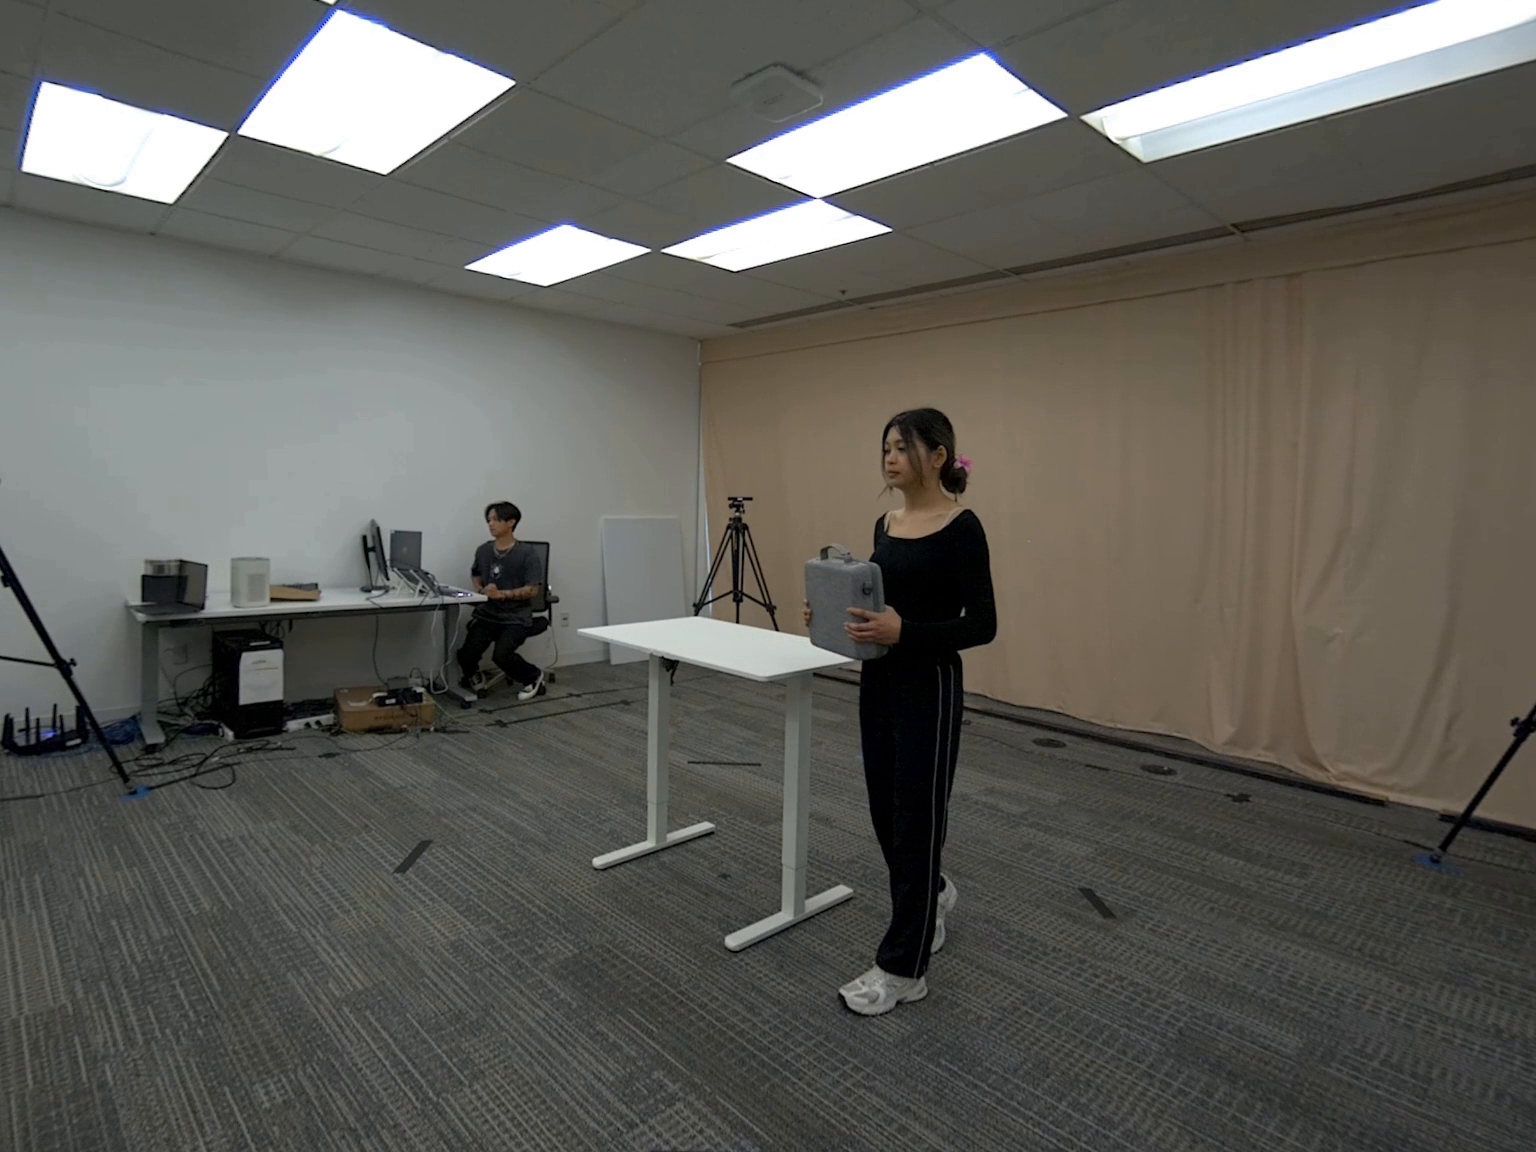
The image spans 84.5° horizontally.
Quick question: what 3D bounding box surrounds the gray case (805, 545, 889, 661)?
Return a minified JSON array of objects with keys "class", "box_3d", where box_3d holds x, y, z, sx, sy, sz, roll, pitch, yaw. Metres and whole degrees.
[{"class":"gray case","box_3d":[0.206,0.081,2.237,0.103,0.259,0.262,-9,8,-25]}]
